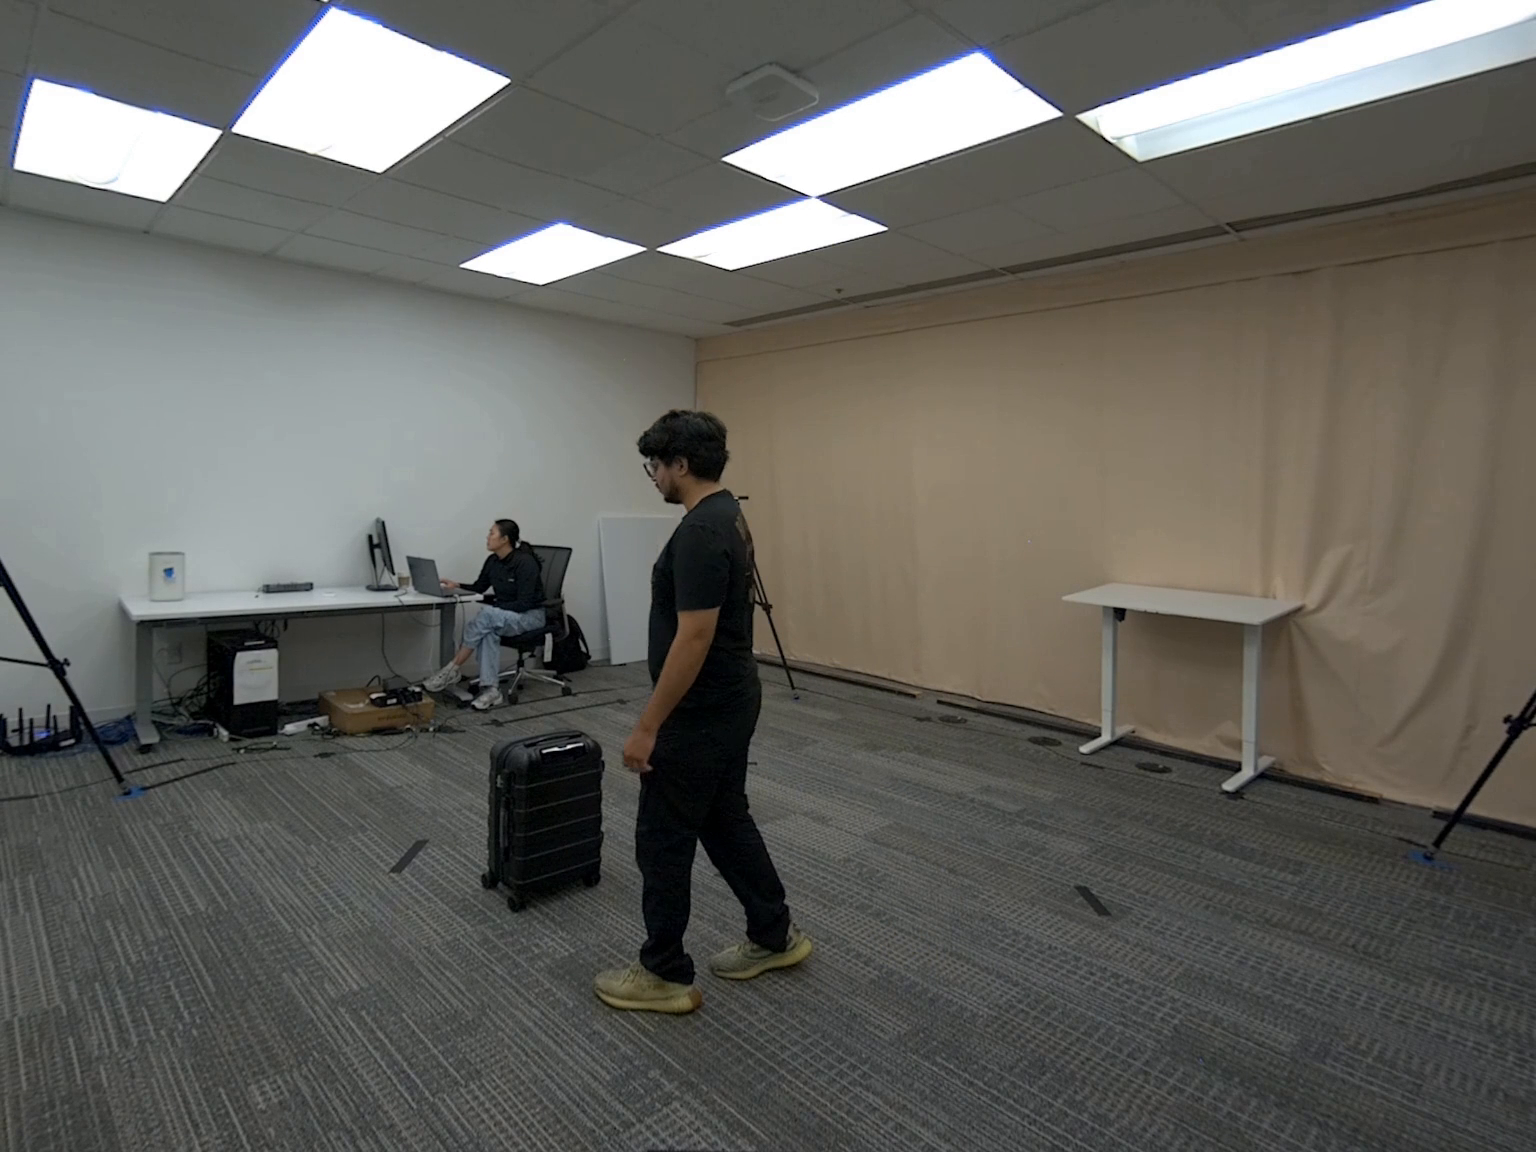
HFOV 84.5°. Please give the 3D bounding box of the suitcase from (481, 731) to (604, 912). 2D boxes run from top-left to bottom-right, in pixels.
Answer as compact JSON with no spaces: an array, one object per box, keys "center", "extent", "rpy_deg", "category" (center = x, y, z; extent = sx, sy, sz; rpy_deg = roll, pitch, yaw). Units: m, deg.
[{"center":[-0.792,0.827,2.956],"extent":[0.367,0.547,0.255],"rpy_deg":[-3,7,-43],"category":"suitcase"}]
